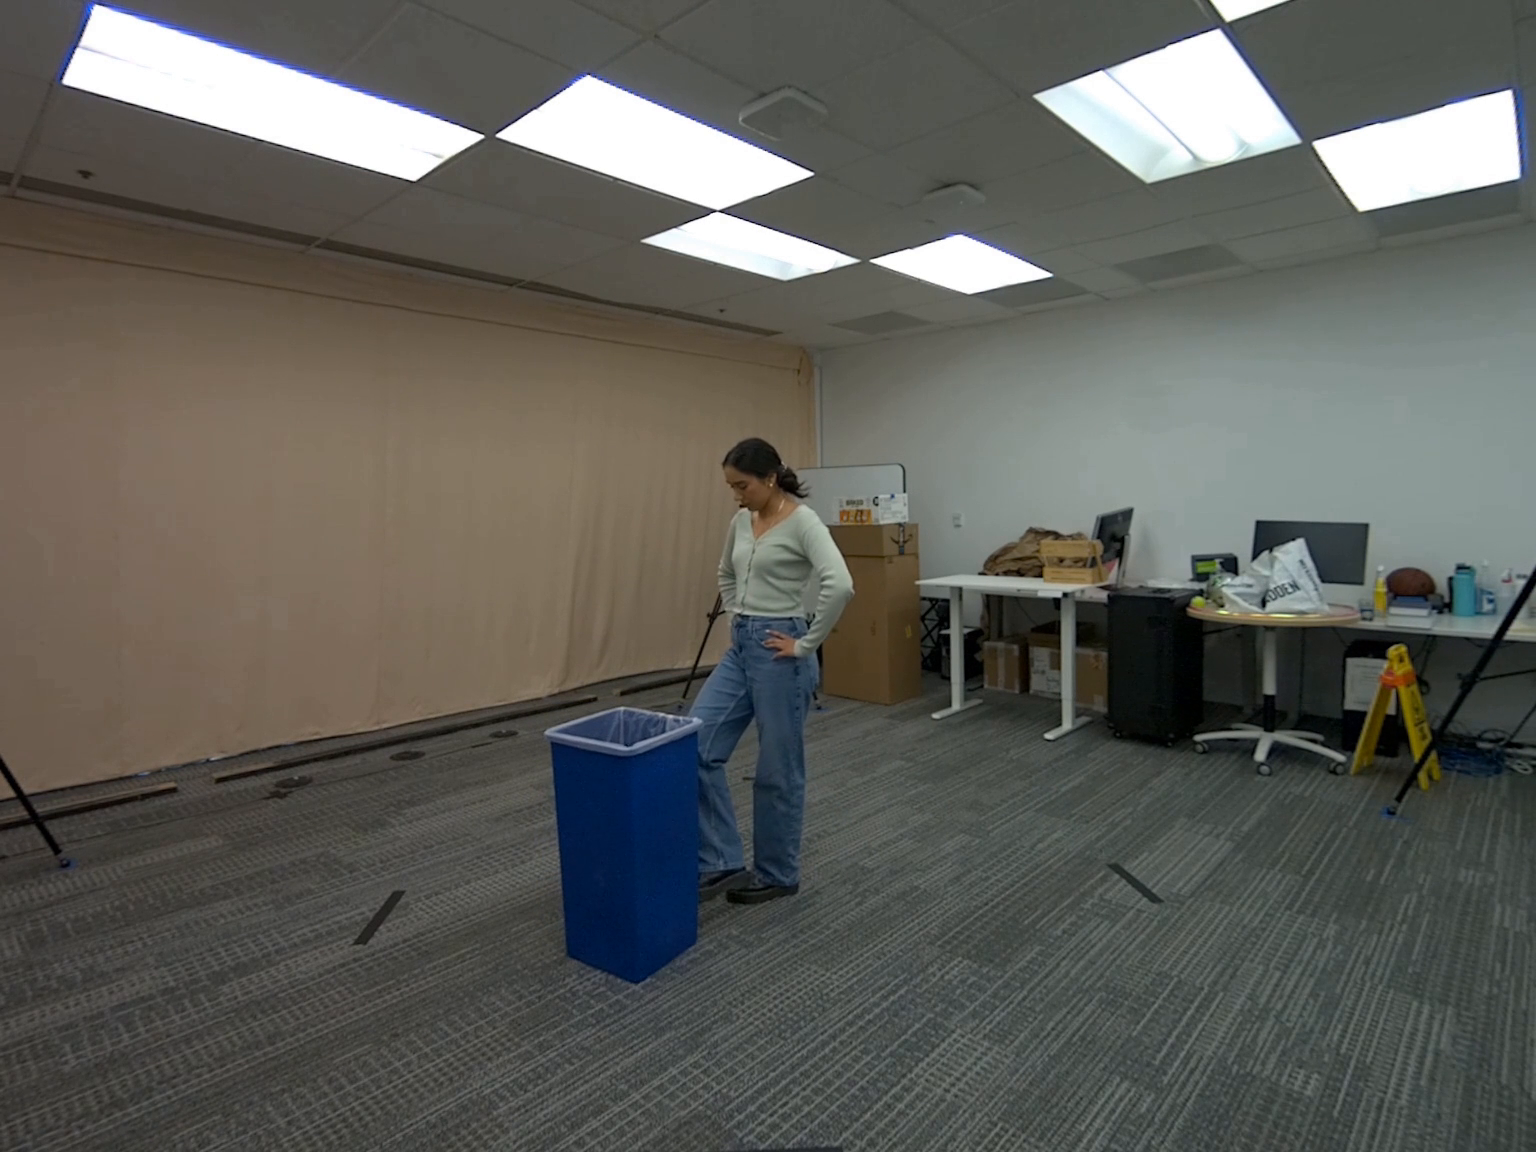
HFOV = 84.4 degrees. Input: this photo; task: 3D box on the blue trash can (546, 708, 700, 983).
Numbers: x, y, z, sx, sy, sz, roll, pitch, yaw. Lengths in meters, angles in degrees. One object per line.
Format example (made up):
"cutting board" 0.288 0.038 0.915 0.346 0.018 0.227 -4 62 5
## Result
"blue trash can" -0.449 0.820 2.637 0.385 0.712 0.367 1 4 34
